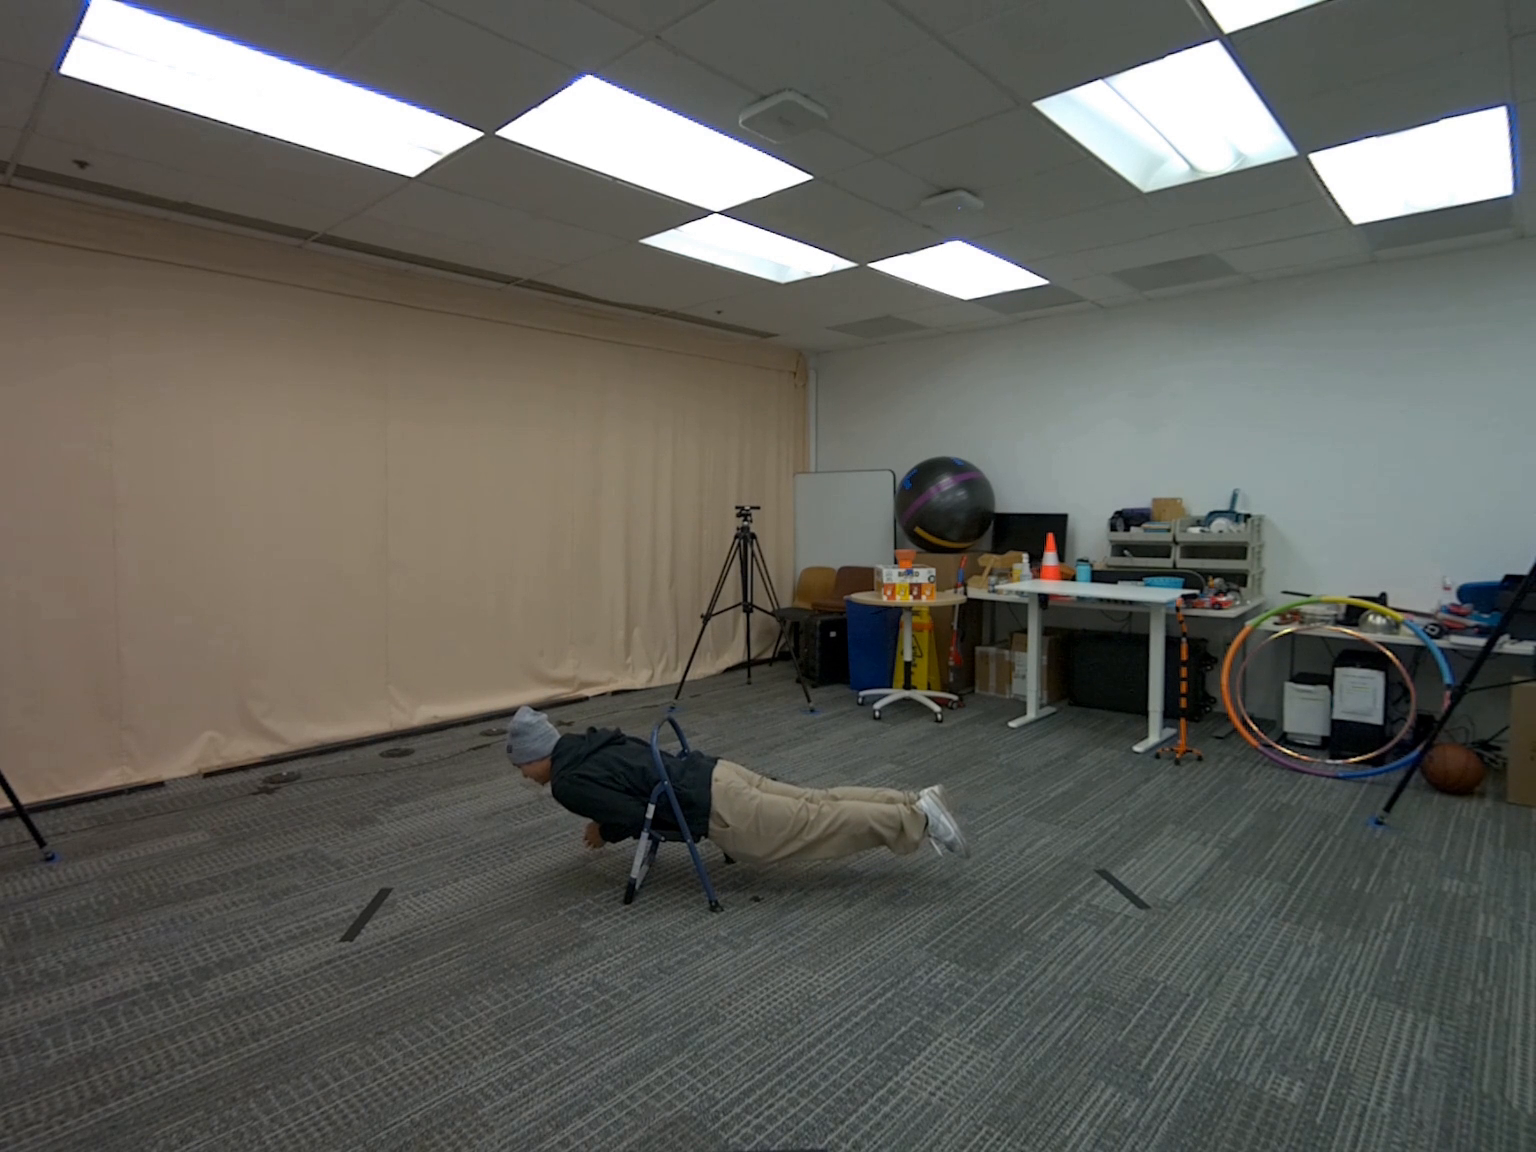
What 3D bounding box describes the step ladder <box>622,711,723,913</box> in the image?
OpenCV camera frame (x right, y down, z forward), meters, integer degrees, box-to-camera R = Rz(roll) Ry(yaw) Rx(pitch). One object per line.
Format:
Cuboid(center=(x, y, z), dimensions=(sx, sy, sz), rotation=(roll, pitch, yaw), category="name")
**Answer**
Cuboid(center=(-0.323, 0.839, 3.106), dimensions=(0.352, 0.605, 0.429), rotation=(-1, 3, 5), category="step ladder")
